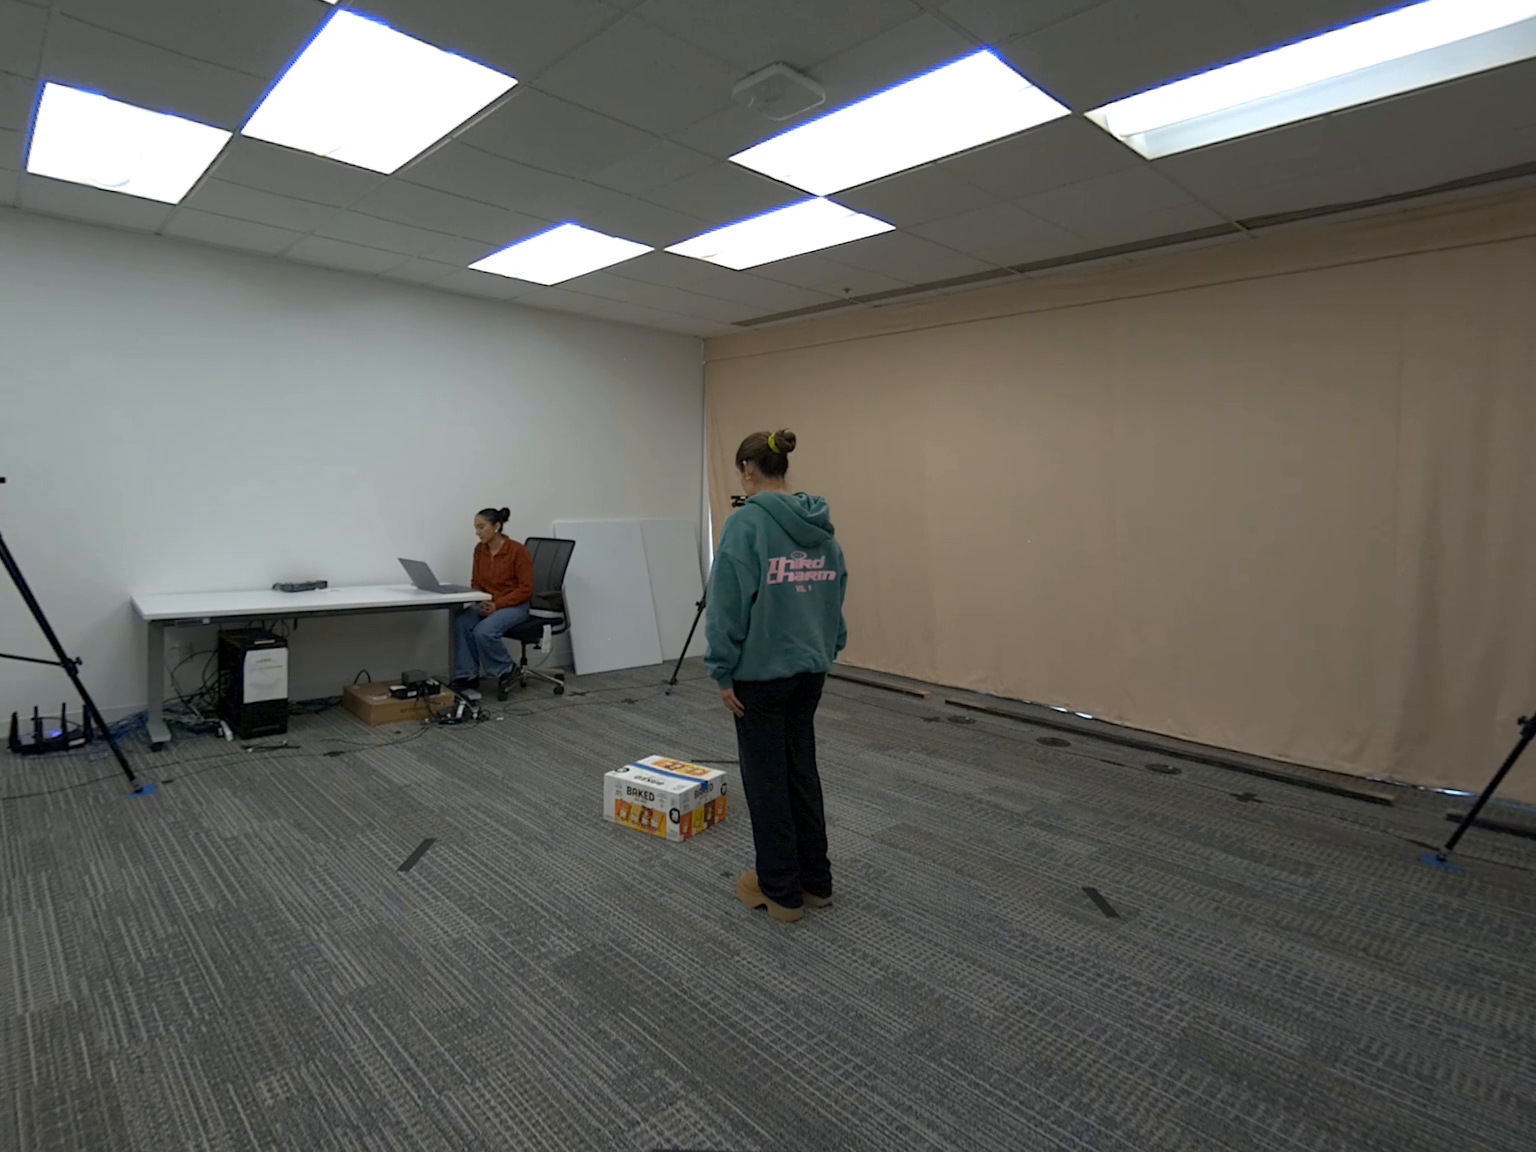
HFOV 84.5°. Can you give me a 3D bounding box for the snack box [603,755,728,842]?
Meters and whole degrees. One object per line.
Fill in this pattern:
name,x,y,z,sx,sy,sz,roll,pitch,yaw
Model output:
snack box,-0.450,0.949,3.623,0.414,0.205,0.333,5,5,32
